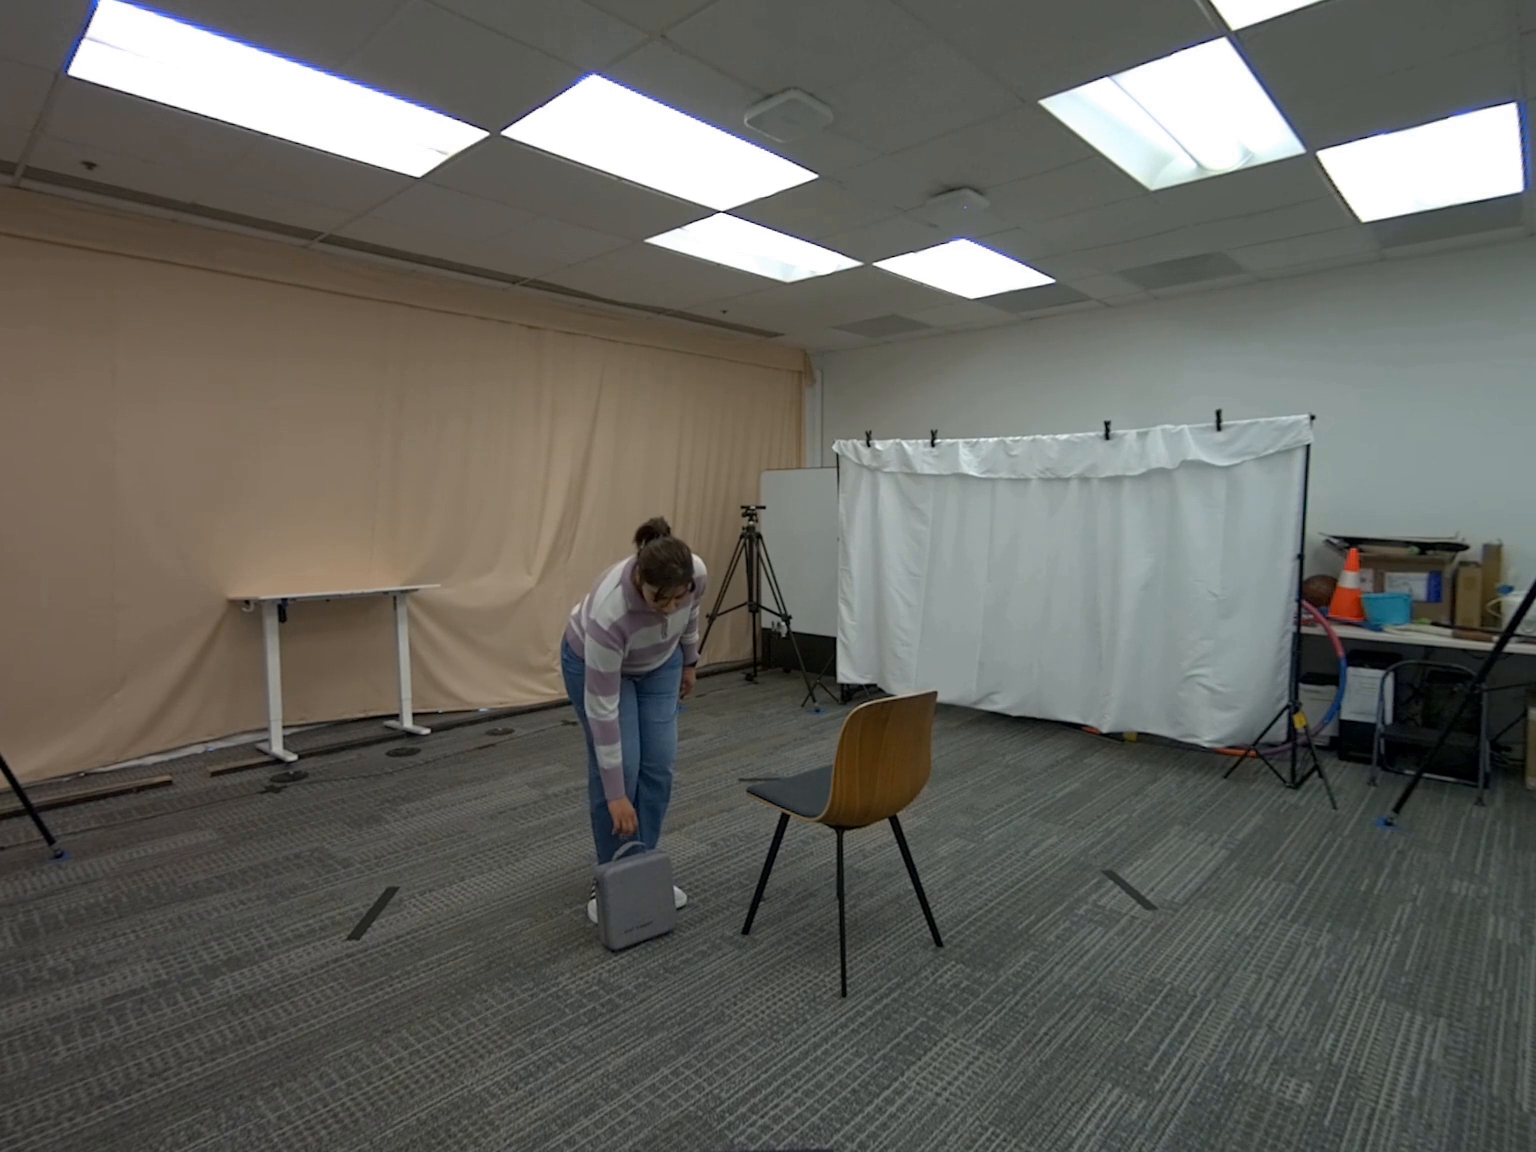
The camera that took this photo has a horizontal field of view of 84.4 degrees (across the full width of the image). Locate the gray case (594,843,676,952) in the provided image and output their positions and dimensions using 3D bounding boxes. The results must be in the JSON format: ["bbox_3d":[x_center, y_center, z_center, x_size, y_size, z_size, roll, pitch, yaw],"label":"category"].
[{"bbox_3d":[-0.423,1.032,2.715,0.250,0.261,0.107,-1,-3,-32],"label":"gray case"}]
